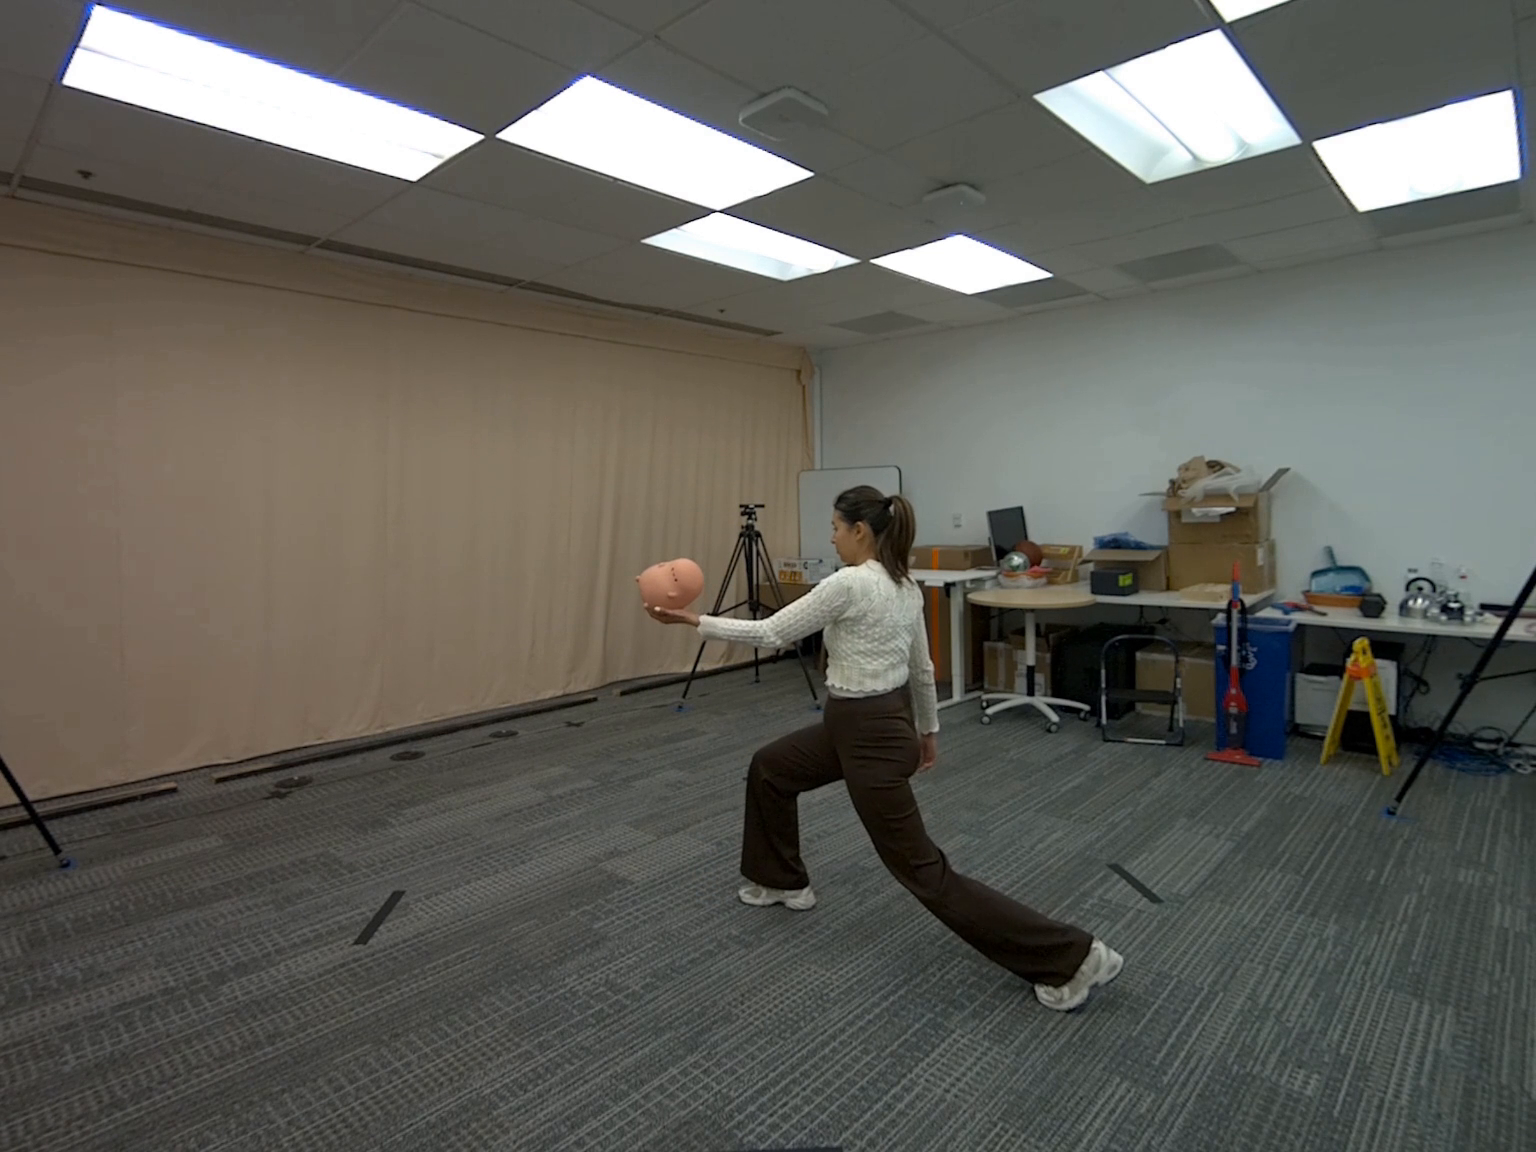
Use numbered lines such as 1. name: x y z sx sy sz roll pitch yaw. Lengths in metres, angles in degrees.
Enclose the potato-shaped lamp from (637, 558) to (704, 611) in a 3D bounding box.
1. potato-shaped lamp: -0.304 0.031 2.699 0.200 0.168 0.165 -30 -28 21
